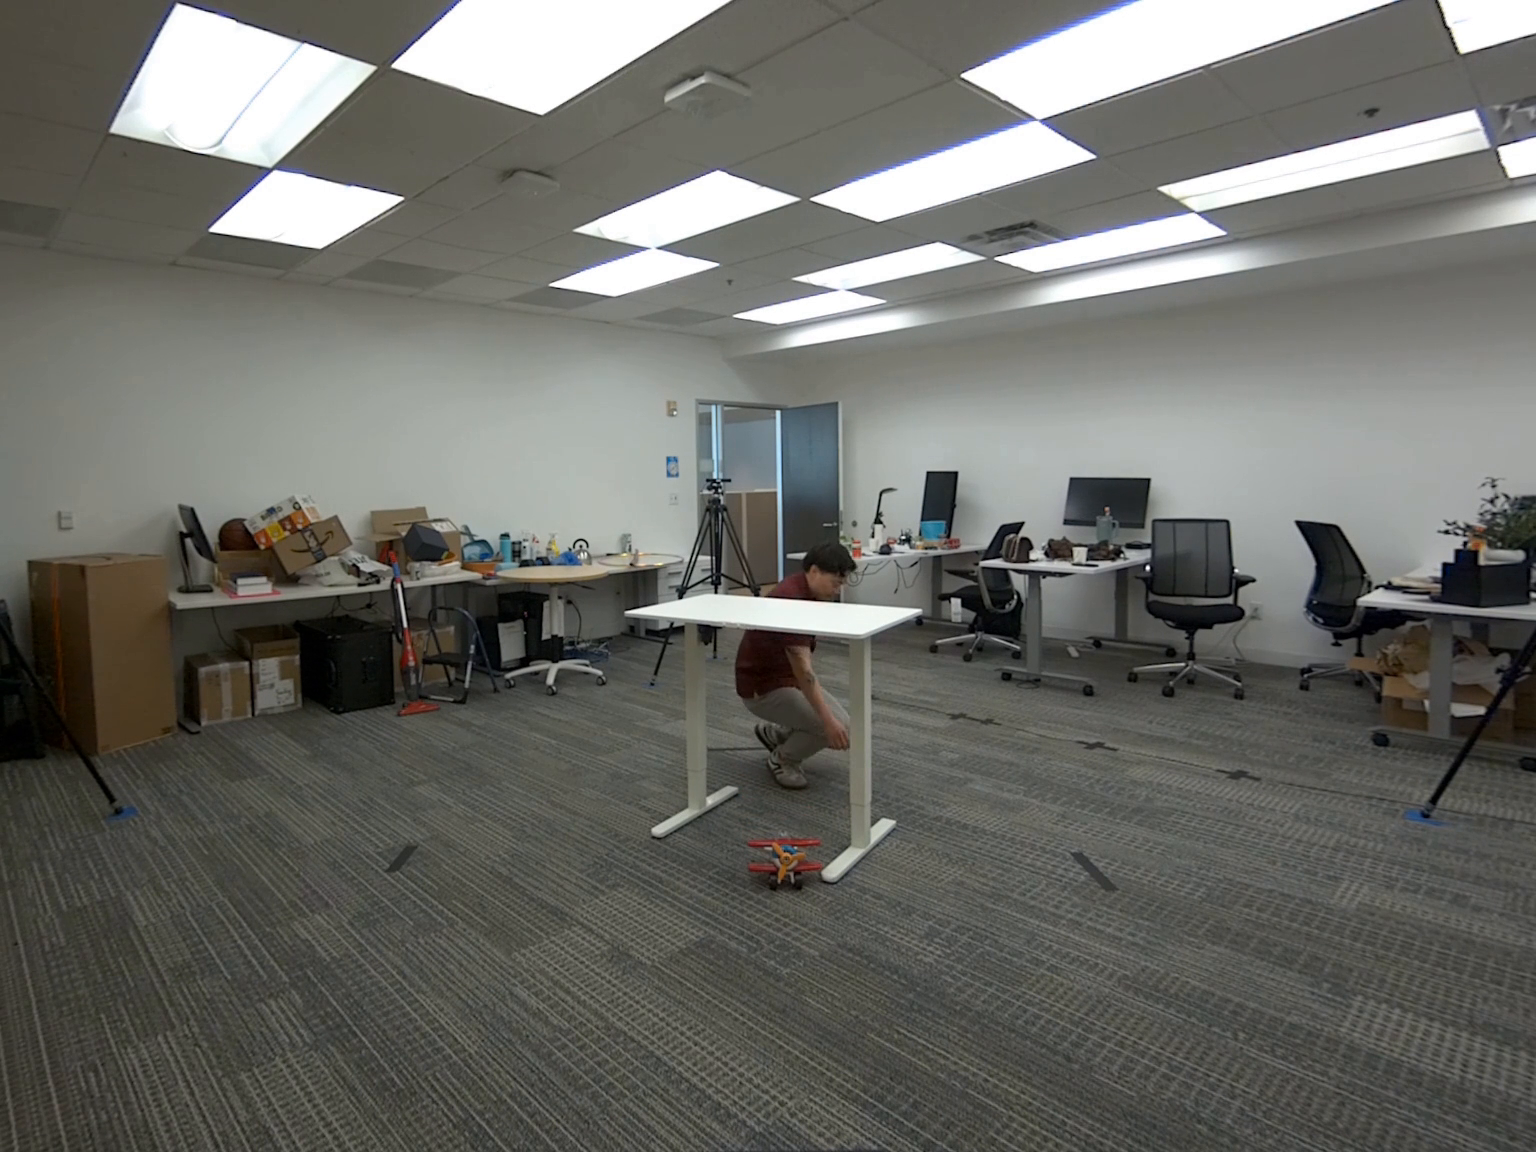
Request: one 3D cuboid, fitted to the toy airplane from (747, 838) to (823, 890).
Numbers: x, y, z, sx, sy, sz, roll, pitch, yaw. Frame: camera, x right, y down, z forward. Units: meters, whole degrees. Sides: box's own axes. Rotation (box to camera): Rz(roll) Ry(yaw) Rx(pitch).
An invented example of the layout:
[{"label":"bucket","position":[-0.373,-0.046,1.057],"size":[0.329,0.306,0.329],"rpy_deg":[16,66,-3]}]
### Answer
[{"label":"toy airplane","position":[0.039,0.984,2.993],"size":[0.245,0.156,0.266],"rpy_deg":[-4,6,-29]}]
